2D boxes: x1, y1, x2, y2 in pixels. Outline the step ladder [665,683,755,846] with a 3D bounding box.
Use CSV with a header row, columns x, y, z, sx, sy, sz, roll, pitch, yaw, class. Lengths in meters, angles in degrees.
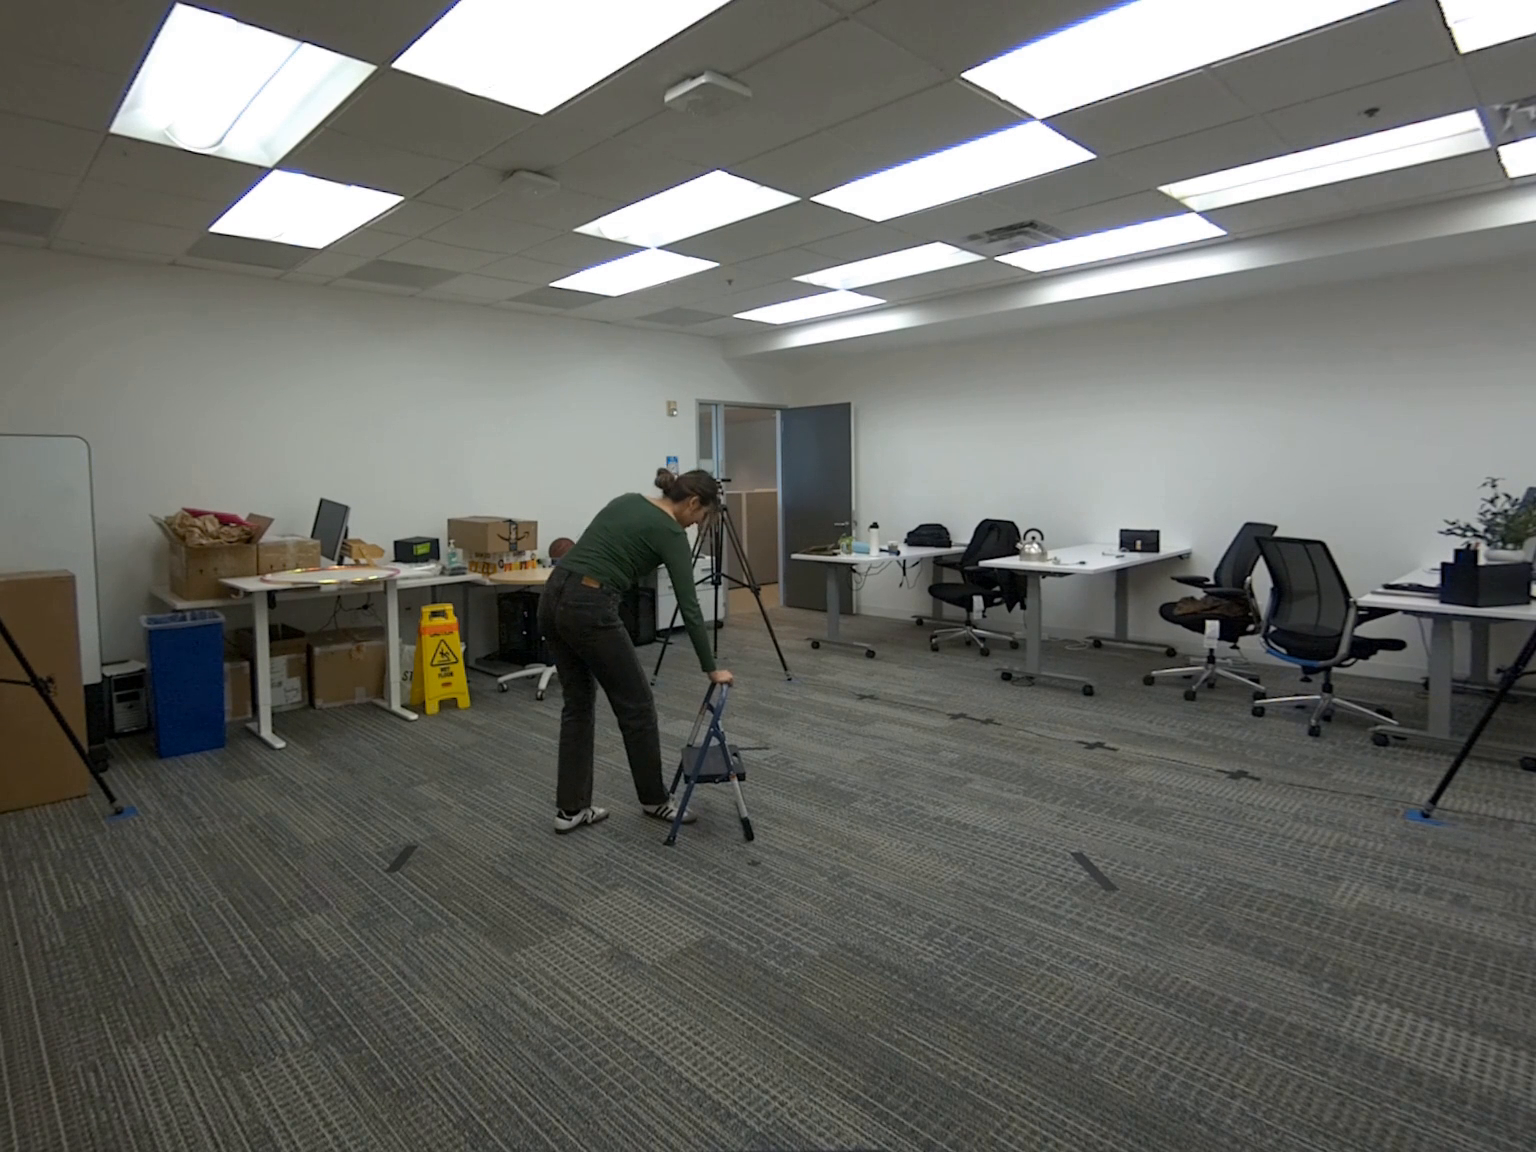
x,y,z,sx,sy,sz,roll,pitch,yaw,class
-0.246,0.705,3.462,0.347,0.604,0.435,-1,4,-7,step ladder
